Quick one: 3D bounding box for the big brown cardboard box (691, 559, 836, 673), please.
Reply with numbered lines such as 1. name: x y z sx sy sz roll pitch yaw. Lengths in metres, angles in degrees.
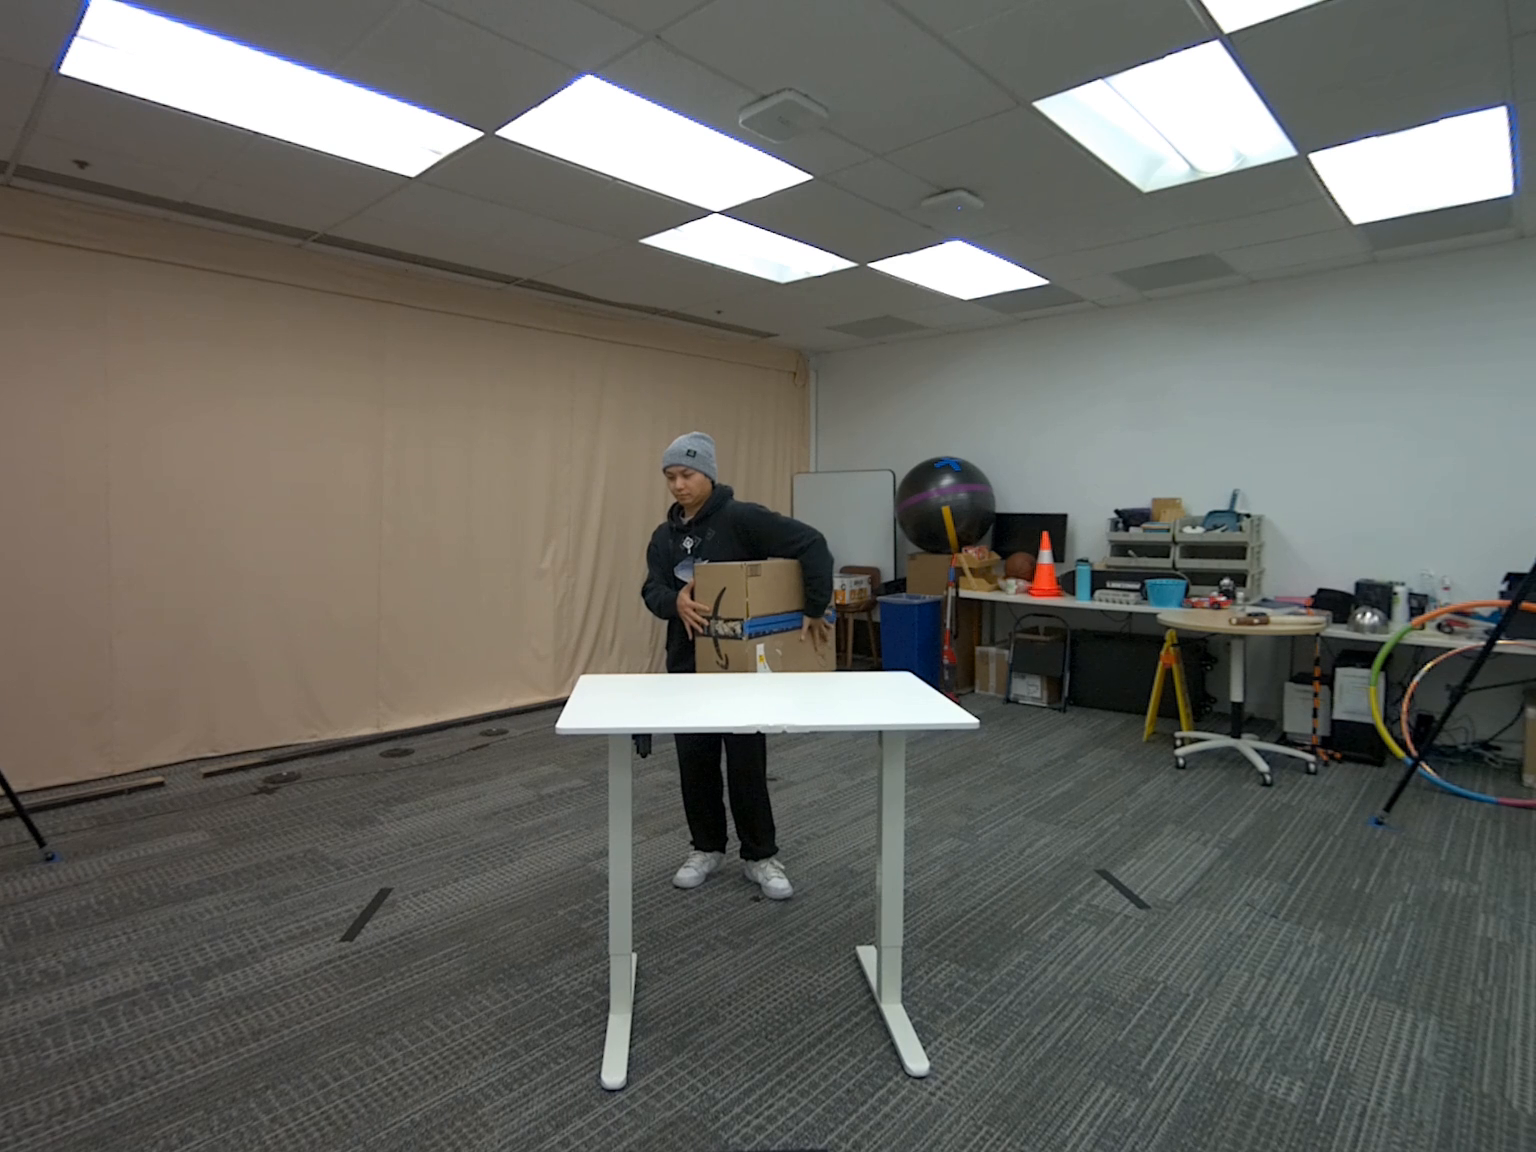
1. big brown cardboard box: 0.003 0.157 2.941 0.240 0.417 0.572 -1 2 35
